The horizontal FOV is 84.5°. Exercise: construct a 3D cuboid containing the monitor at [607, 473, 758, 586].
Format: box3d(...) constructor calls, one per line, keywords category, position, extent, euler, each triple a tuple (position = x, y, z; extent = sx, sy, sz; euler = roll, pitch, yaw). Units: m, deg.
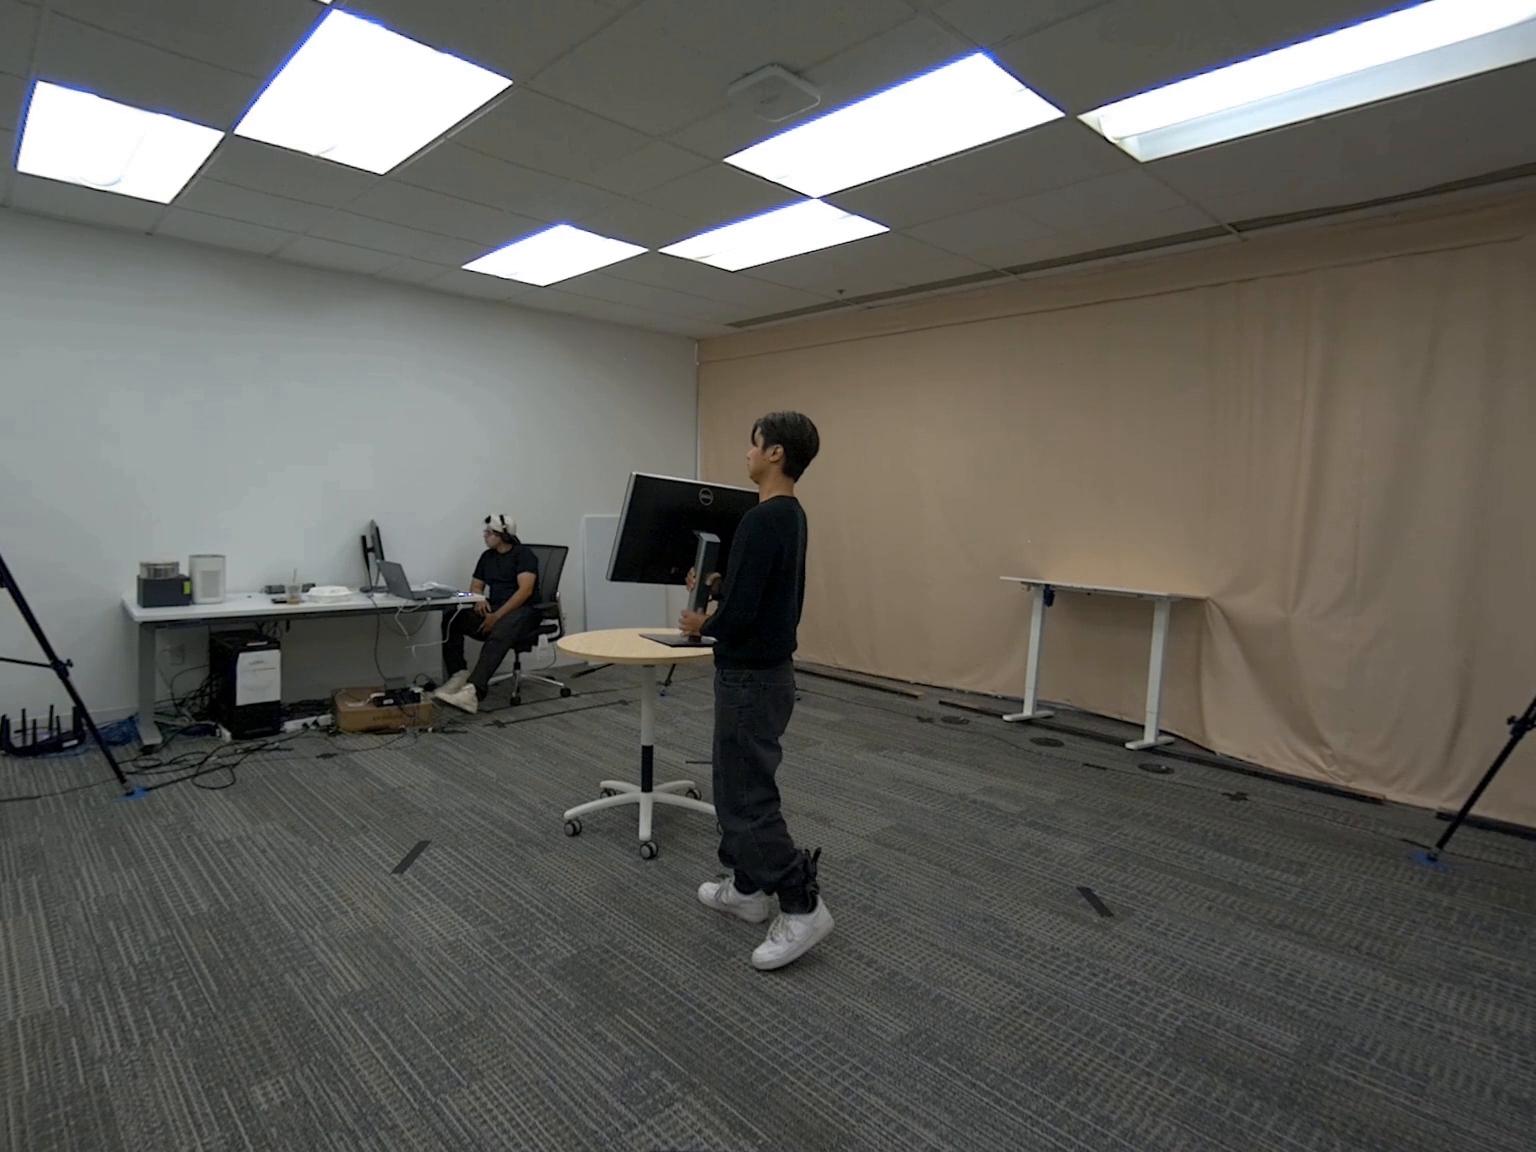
box3d(category="monitor", position=(-0.257, -0.048, 2.823), extent=(0.517, 0.516, 0.179), euler=(3, -1, -40))
